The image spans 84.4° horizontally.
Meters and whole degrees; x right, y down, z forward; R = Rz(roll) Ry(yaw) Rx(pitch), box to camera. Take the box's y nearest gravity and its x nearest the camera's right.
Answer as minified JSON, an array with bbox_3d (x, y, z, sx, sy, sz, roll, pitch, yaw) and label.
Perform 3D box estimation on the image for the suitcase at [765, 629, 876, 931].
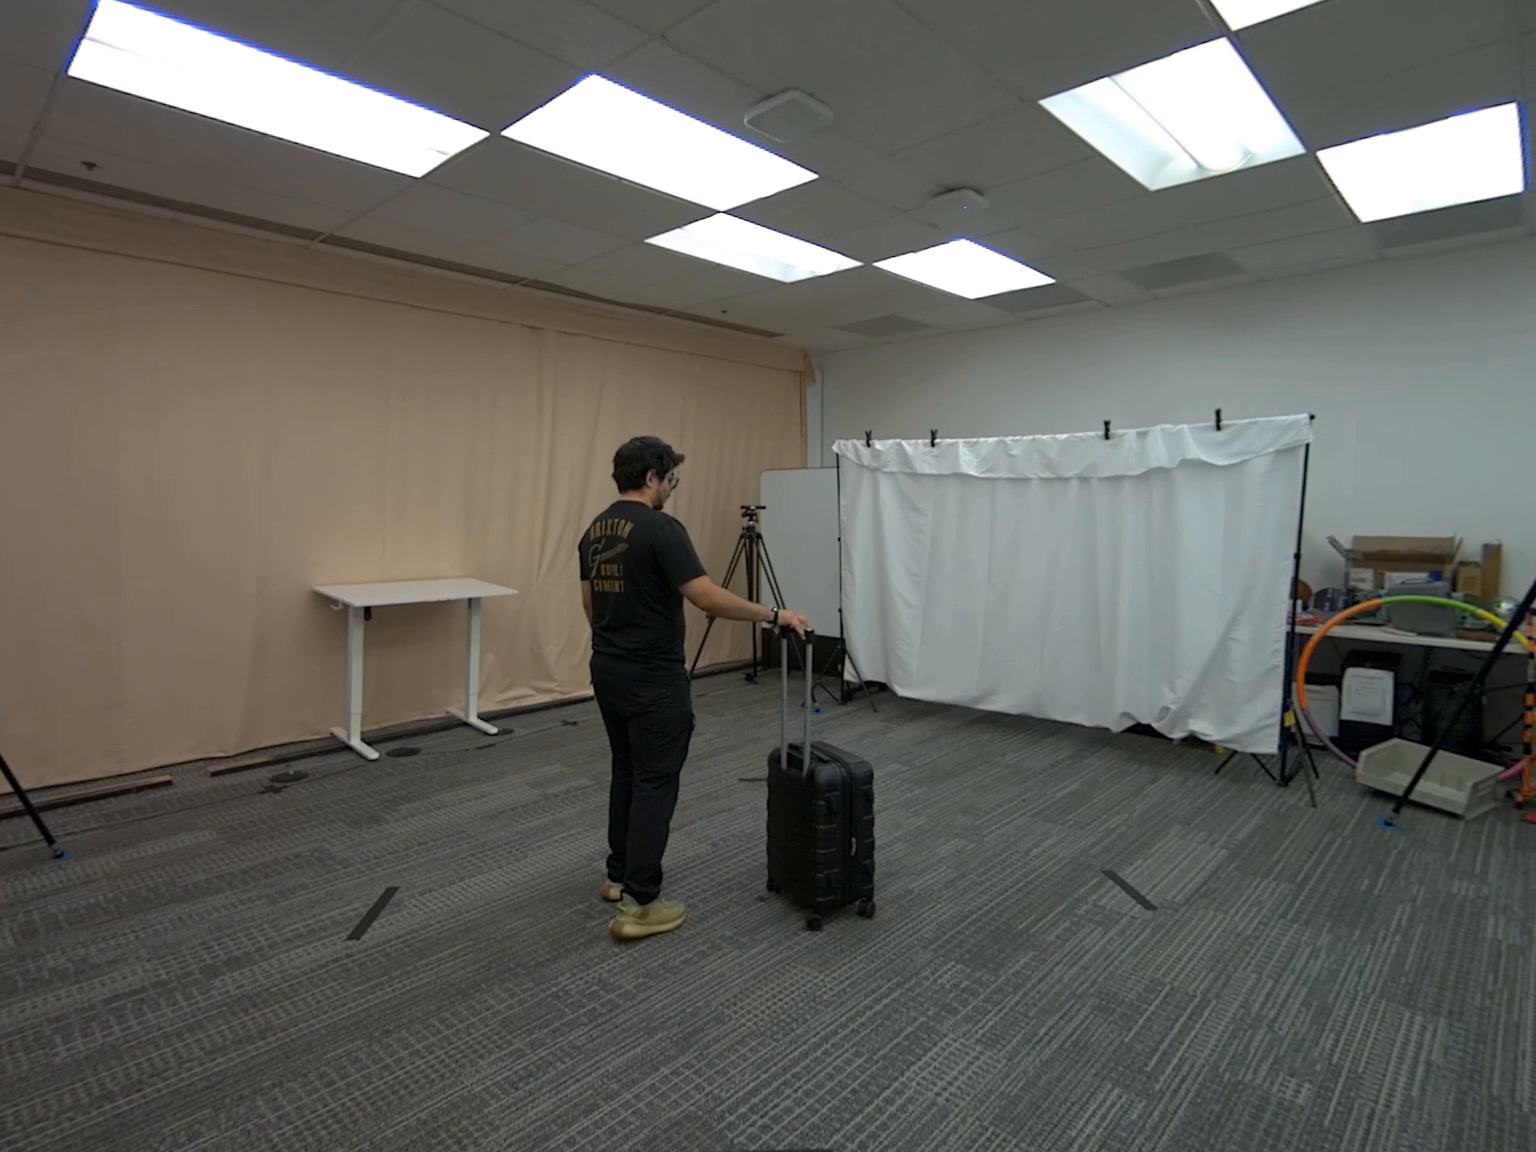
[{"bbox_3d":[0.187,0.676,2.925,0.250,0.977,0.395,0,4,-28],"label":"suitcase"}]
